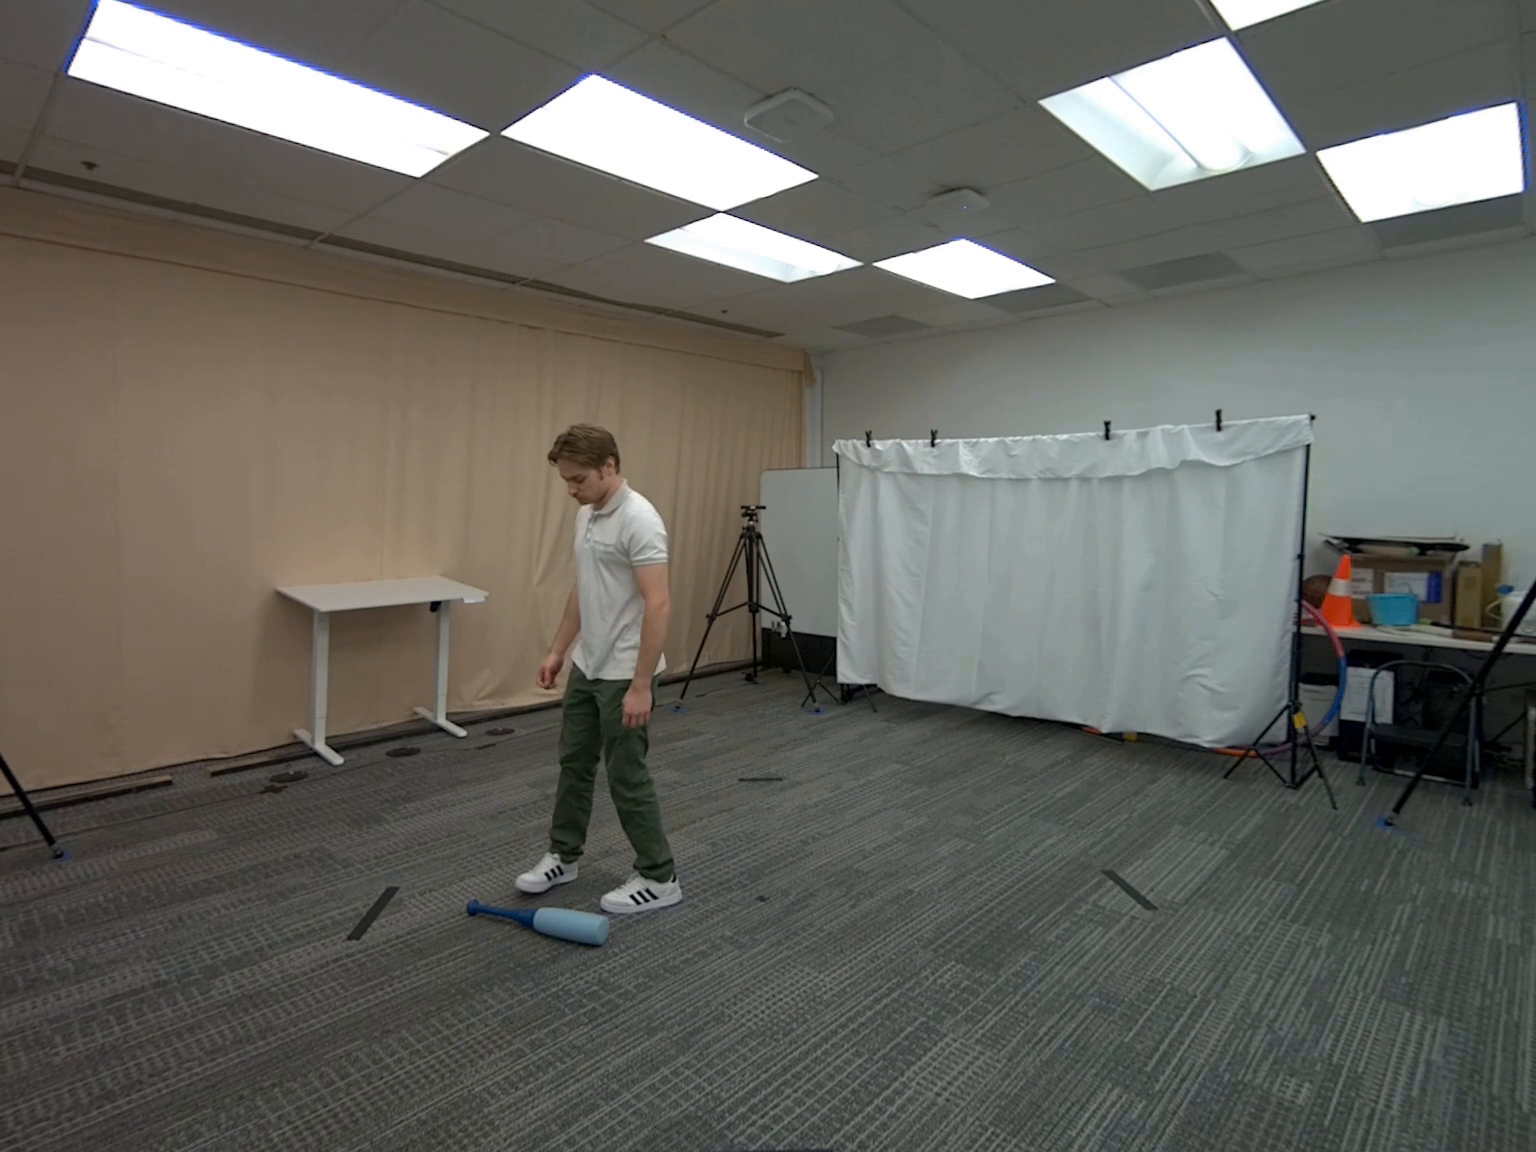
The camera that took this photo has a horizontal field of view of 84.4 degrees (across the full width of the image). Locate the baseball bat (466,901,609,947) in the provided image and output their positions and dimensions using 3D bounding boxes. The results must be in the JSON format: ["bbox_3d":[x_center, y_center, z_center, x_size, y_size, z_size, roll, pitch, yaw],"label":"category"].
[{"bbox_3d":[-0.775,1.134,2.772,0.555,0.089,0.087,-2,3,23],"label":"baseball bat"}]
